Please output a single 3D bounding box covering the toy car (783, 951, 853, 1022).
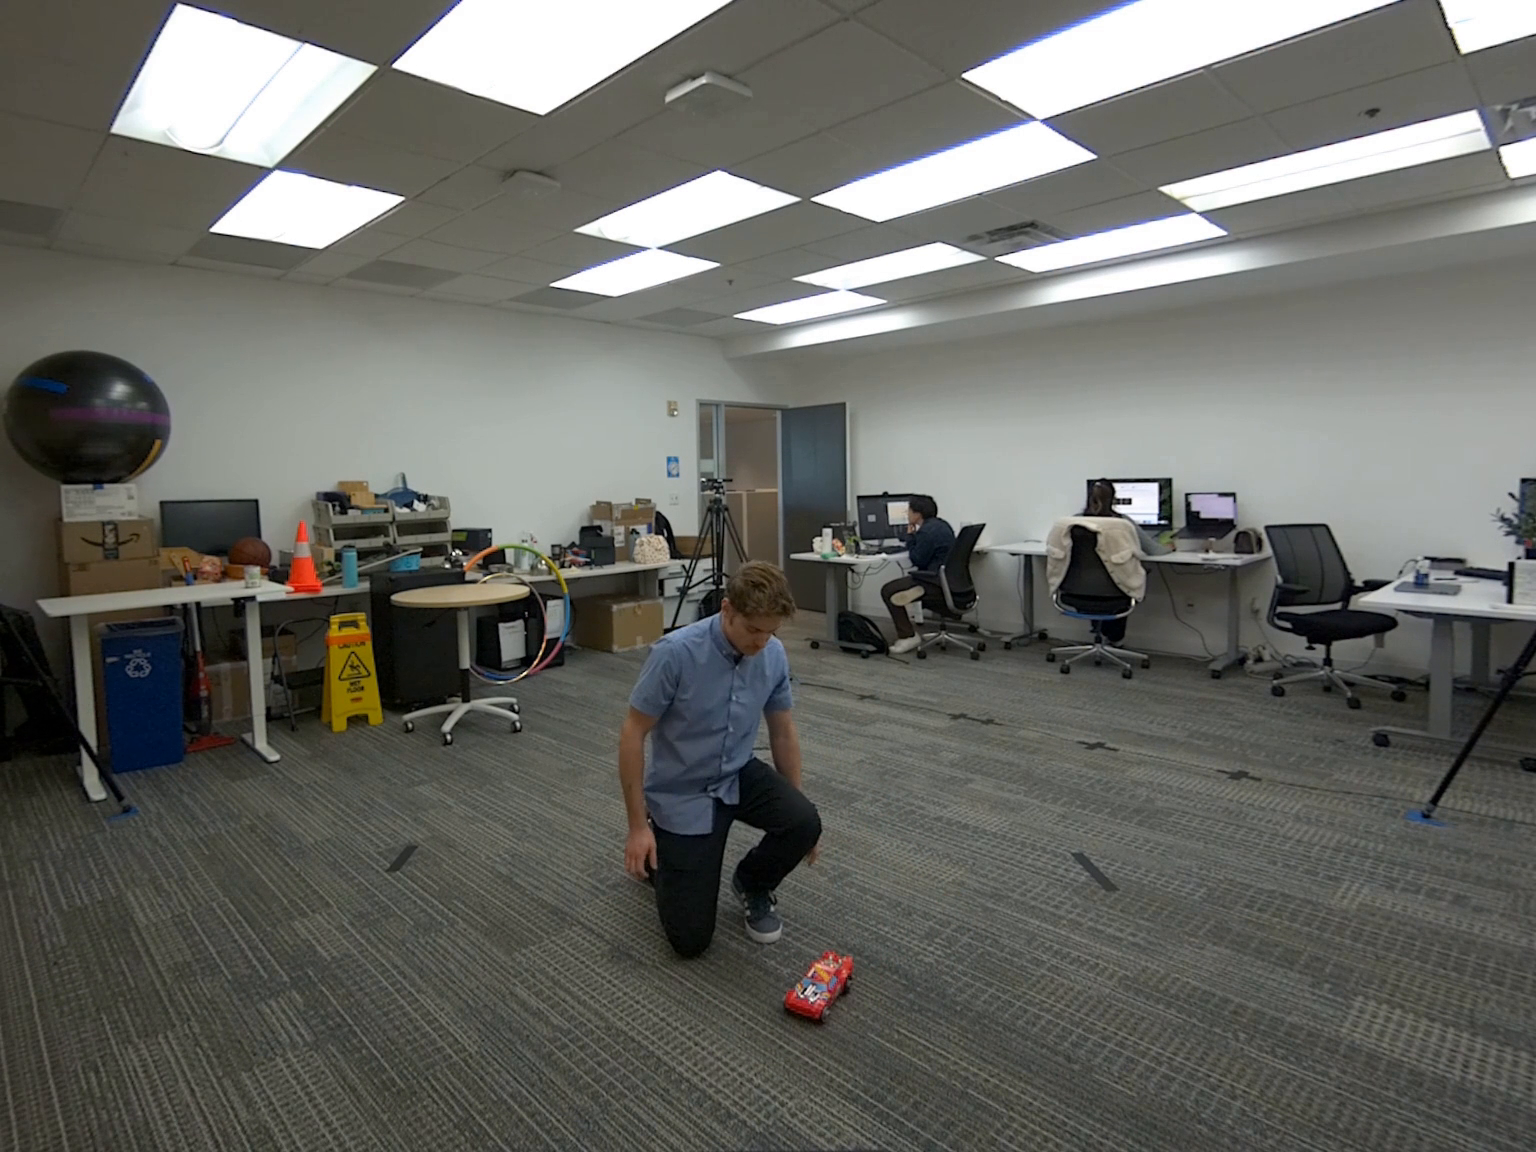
[{"bbox_3d":[0.151,1.108,2.296,0.134,0.082,0.251,5,19,33],"label":"toy car"}]
